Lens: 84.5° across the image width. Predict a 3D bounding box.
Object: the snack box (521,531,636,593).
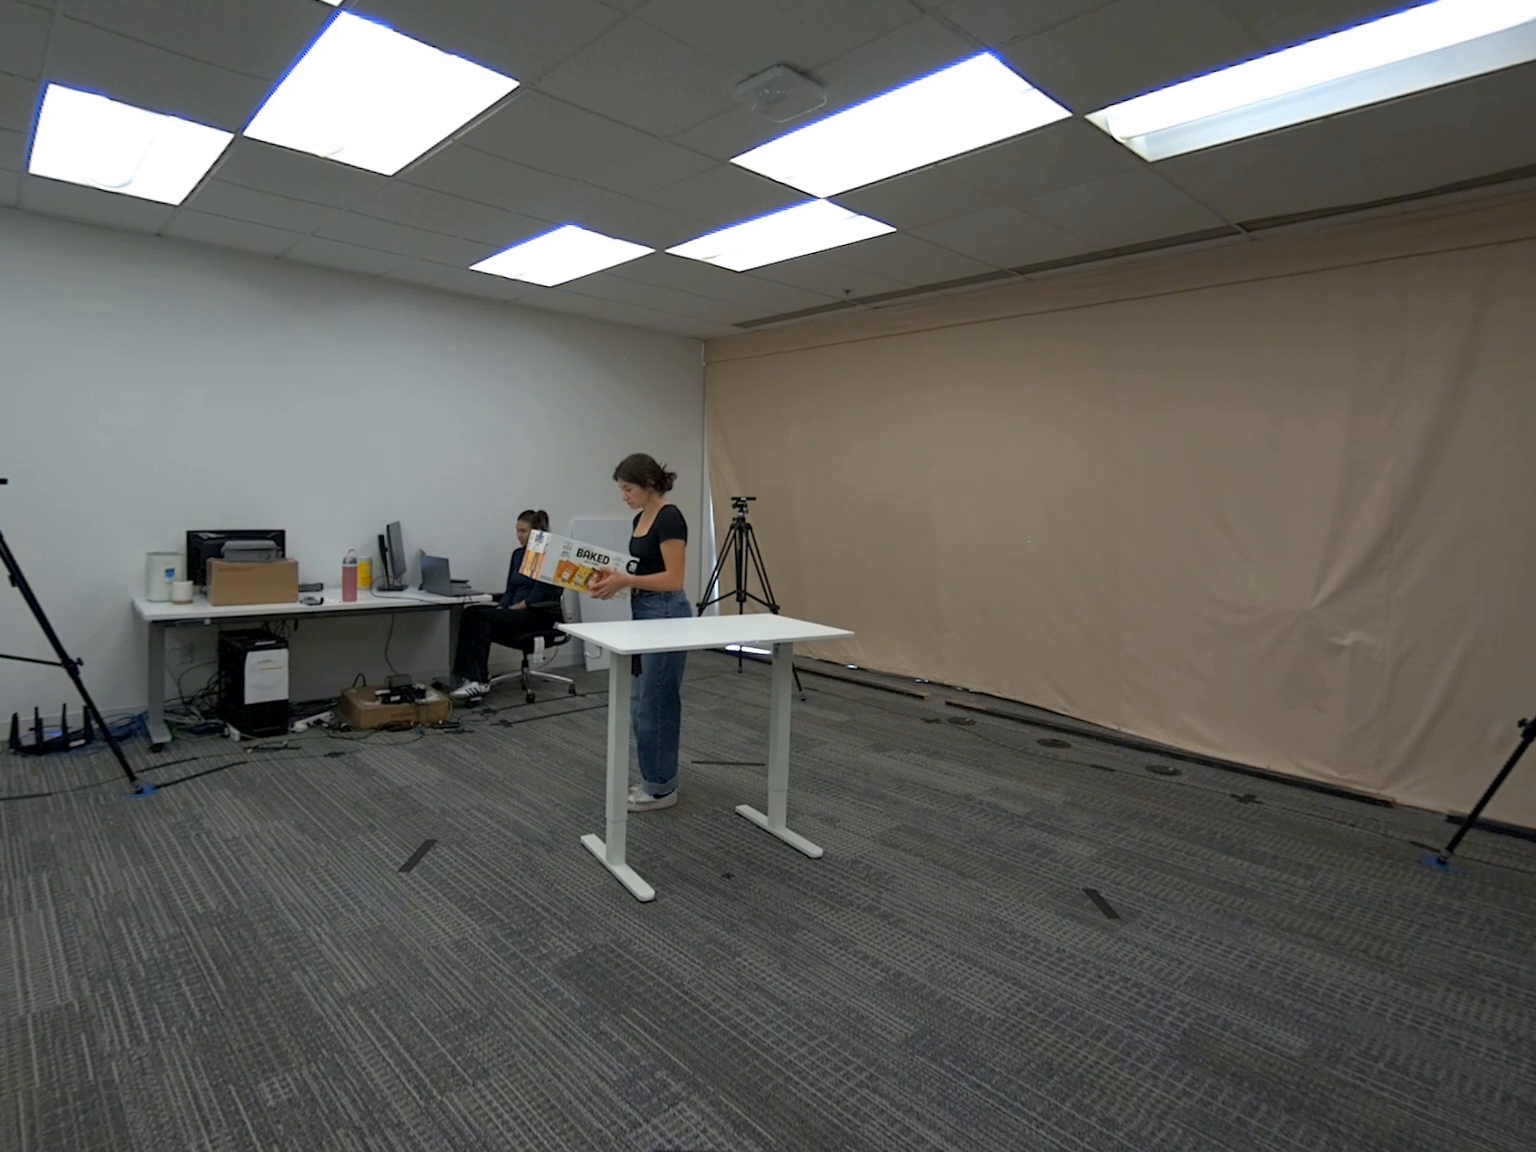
[{"bbox_3d":[-0.840,-0.044,3.694,0.395,0.206,0.348,17,-3,-29],"label":"snack box"}]
